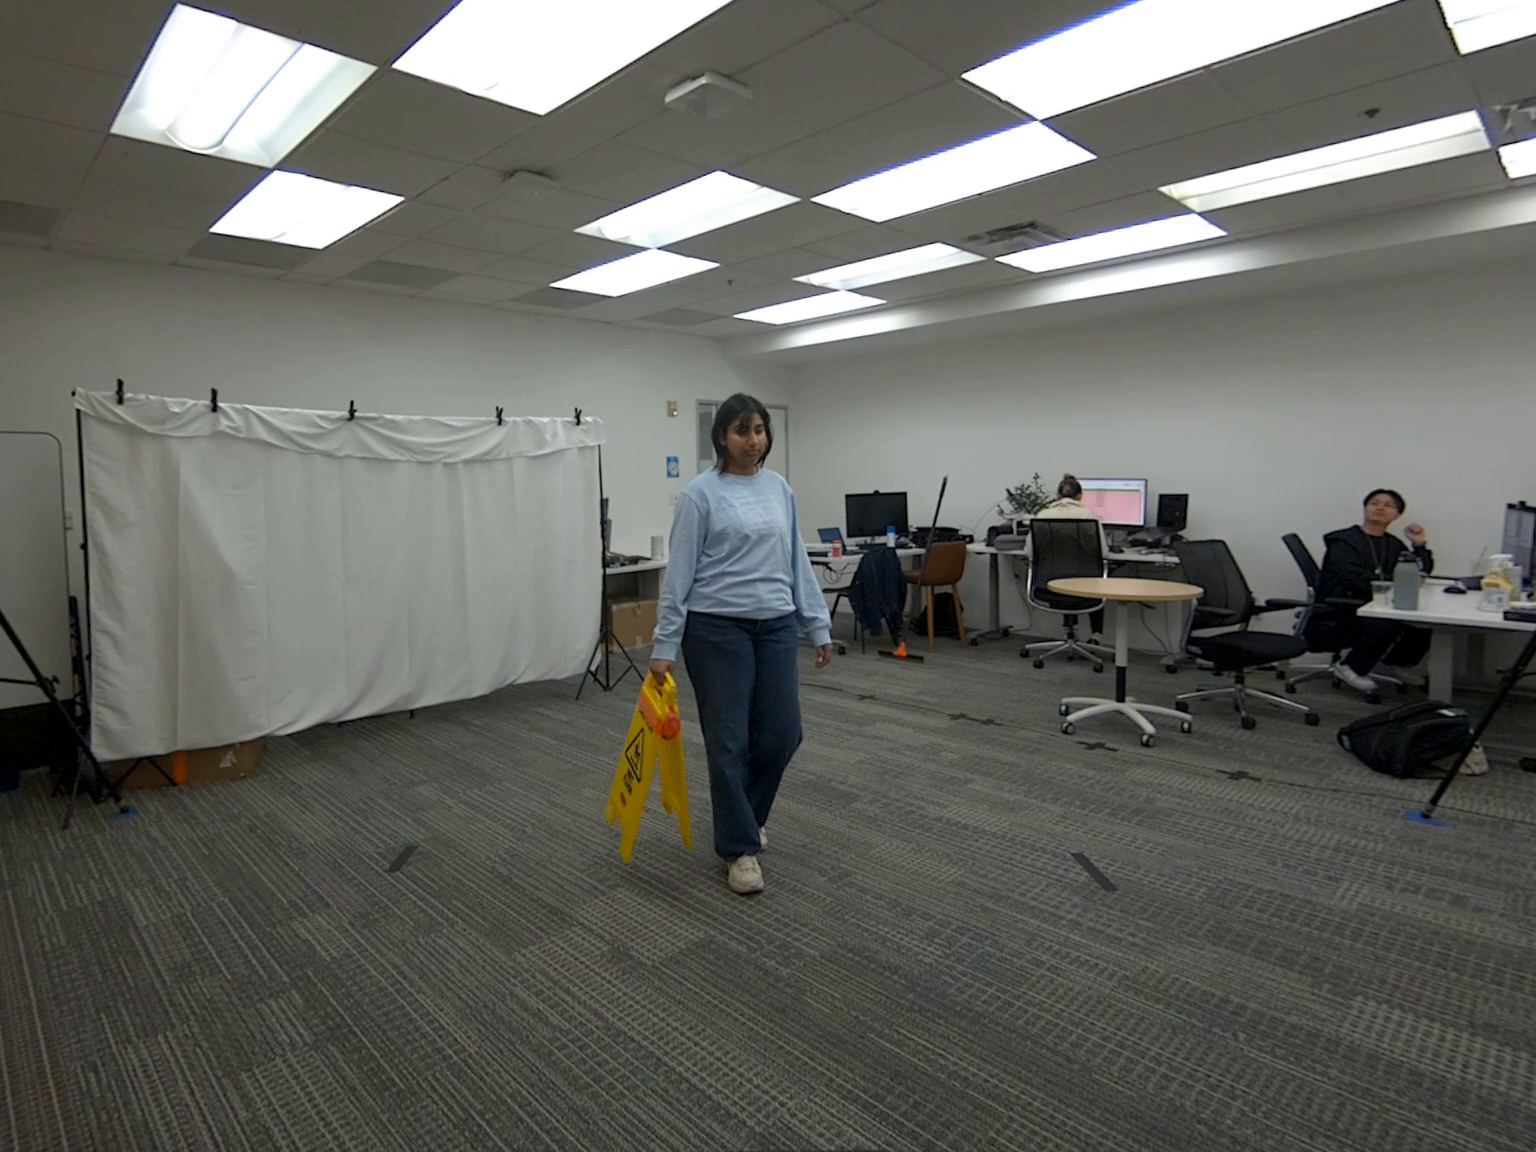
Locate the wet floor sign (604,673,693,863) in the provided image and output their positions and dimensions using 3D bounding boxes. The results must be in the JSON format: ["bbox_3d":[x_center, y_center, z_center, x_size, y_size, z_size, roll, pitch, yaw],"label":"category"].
[{"bbox_3d":[-0.380,0.615,2.943,0.284,0.637,0.292,-1,20,-24],"label":"wet floor sign"}]
